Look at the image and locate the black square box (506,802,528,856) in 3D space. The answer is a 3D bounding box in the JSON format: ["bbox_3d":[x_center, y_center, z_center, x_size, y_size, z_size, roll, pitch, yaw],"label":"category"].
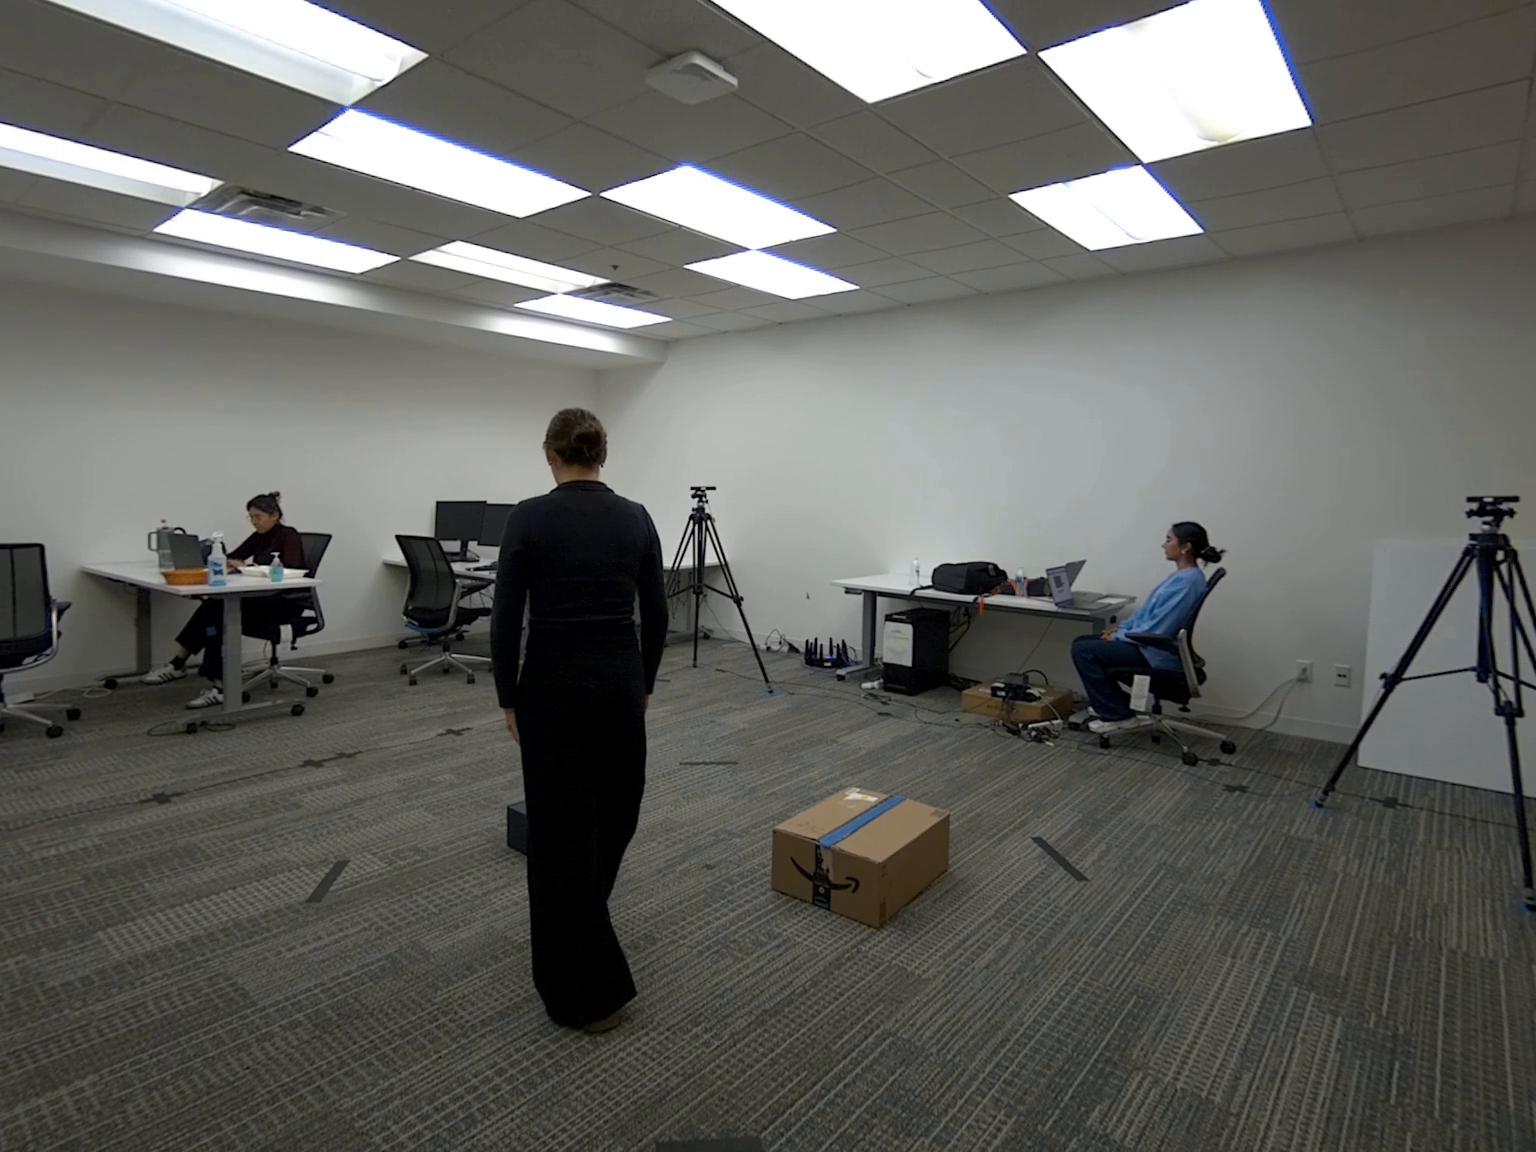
[{"bbox_3d":[-0.852,0.950,3.260,0.235,0.155,0.210,4,5,41],"label":"black square box"}]
